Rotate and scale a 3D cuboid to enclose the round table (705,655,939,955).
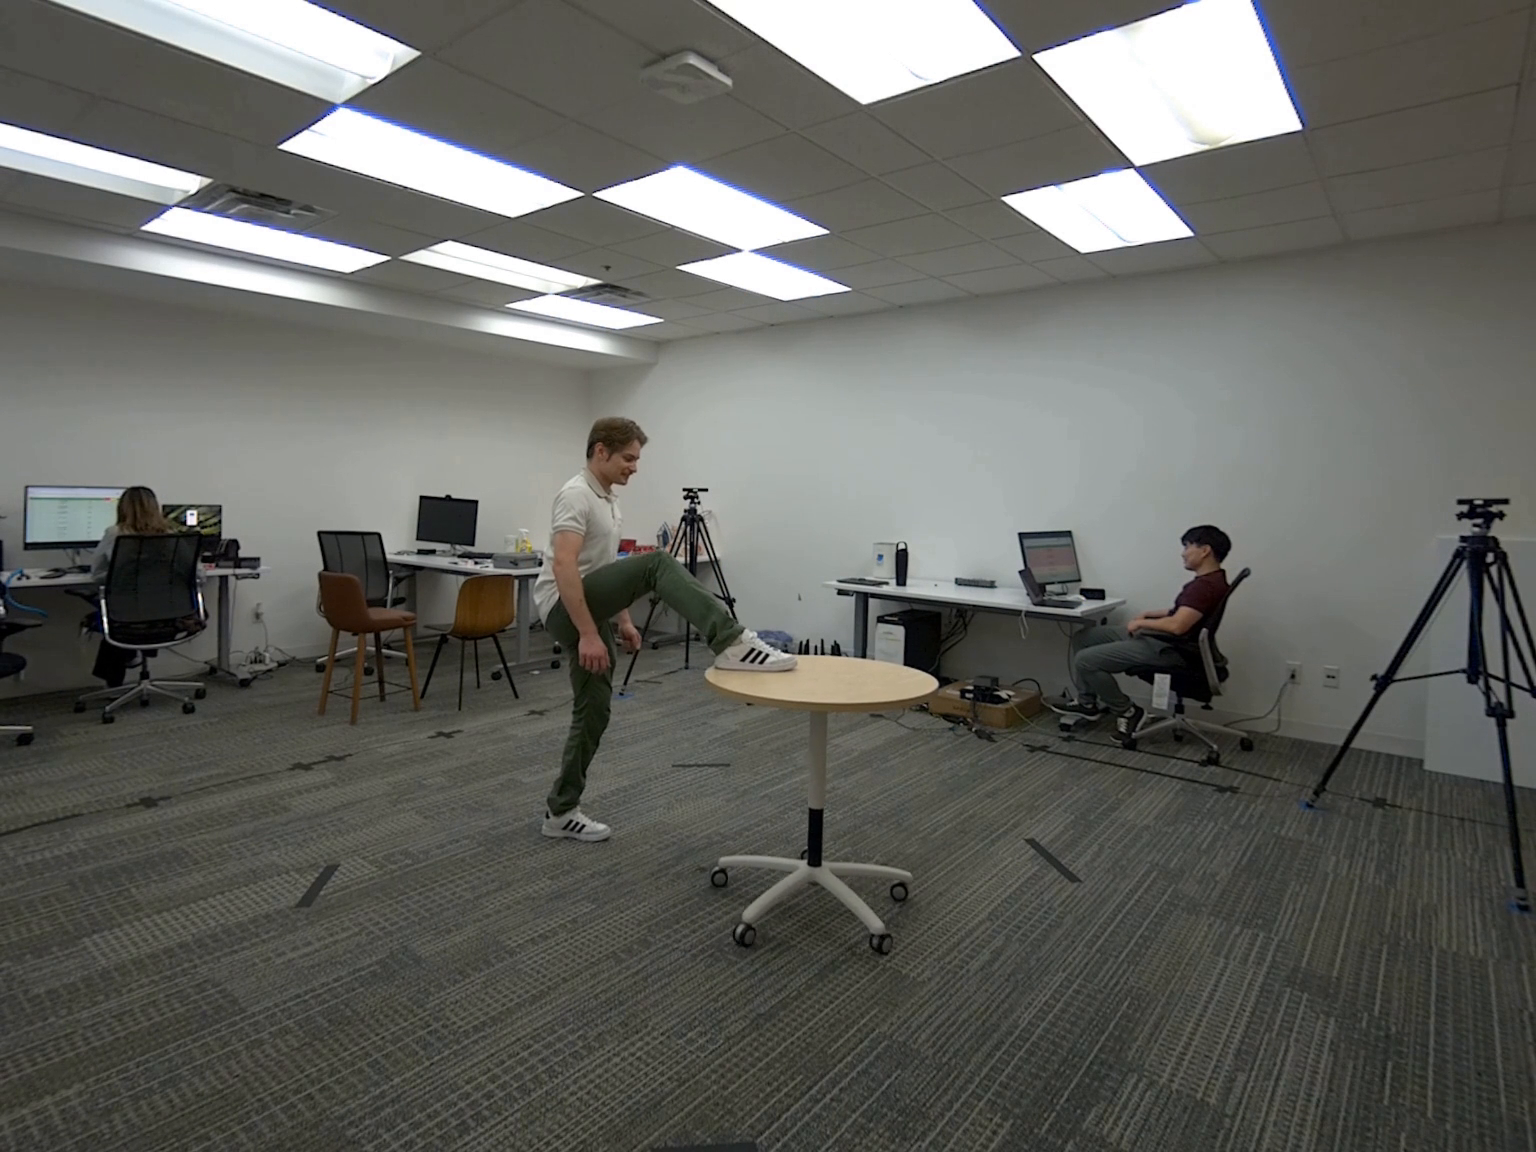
[{"bbox_3d":[0.153,0.720,2.835,0.763,0.792,0.767,1,4,-2],"label":"round table"}]
